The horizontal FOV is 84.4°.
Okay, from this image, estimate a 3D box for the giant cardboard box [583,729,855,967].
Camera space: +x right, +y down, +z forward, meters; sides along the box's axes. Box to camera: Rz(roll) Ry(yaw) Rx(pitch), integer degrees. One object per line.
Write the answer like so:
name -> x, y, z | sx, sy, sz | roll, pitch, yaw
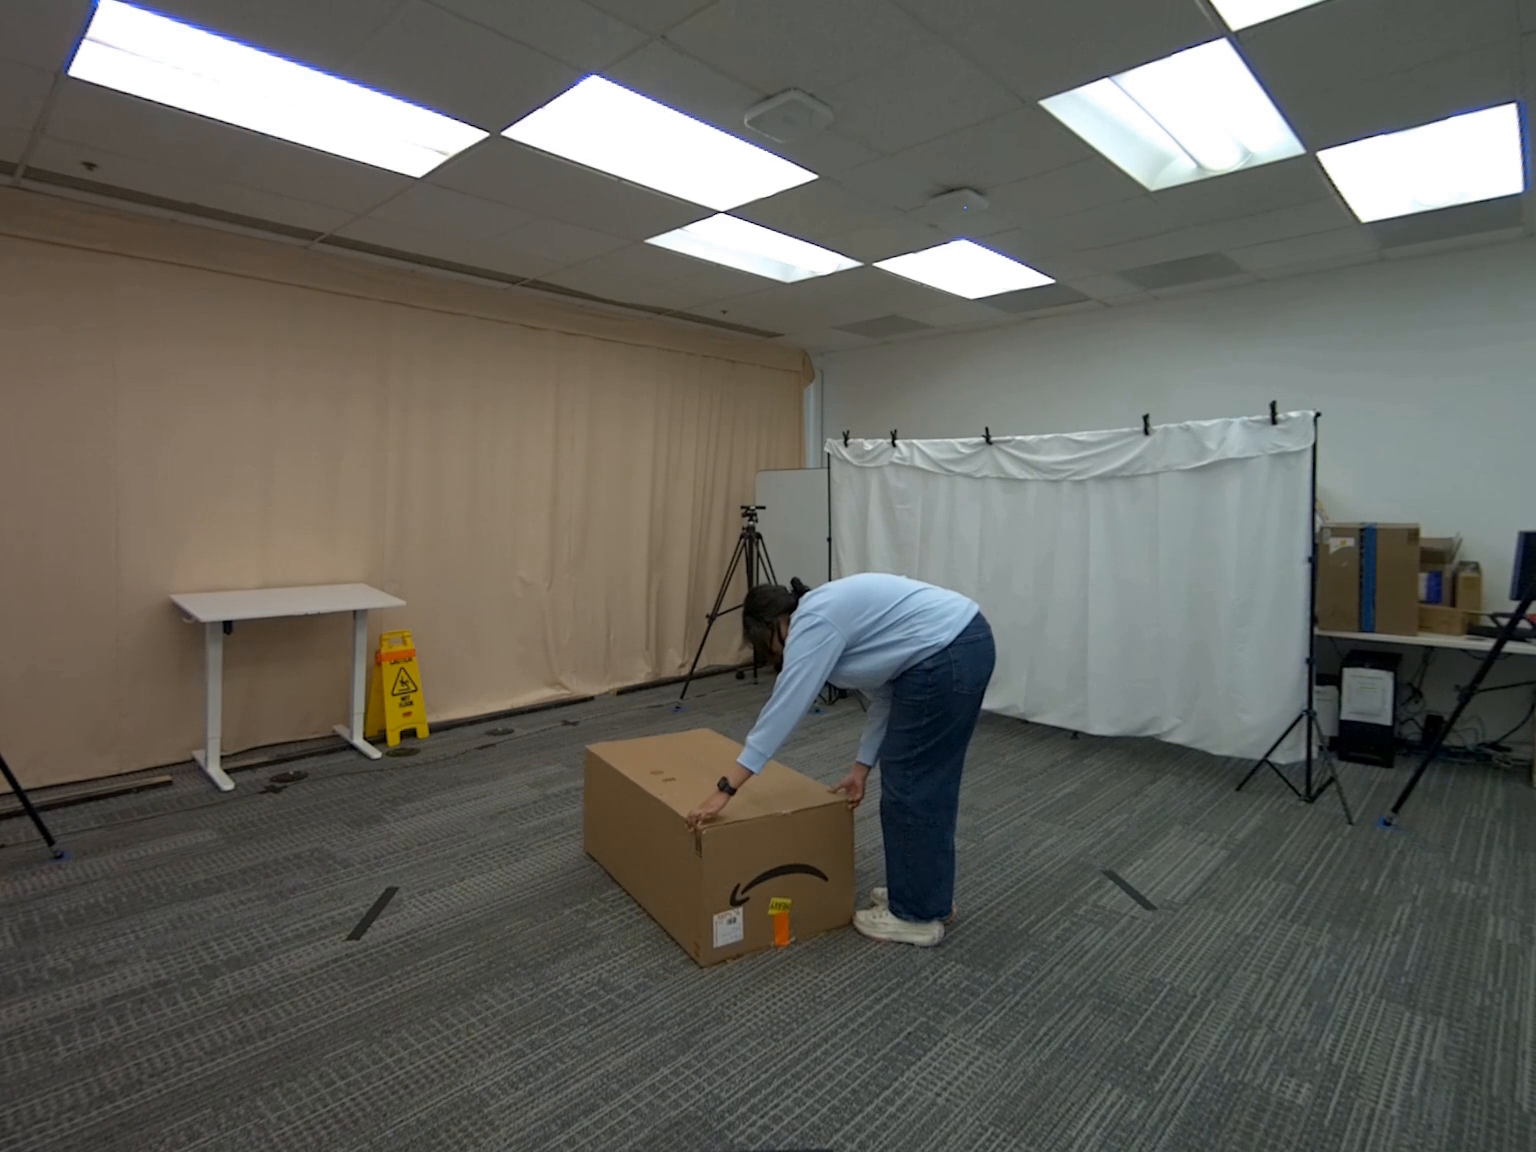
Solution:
giant cardboard box -> -0.230, 0.921, 3.099 | 0.562, 0.425, 1.056 | -2, 5, -31
